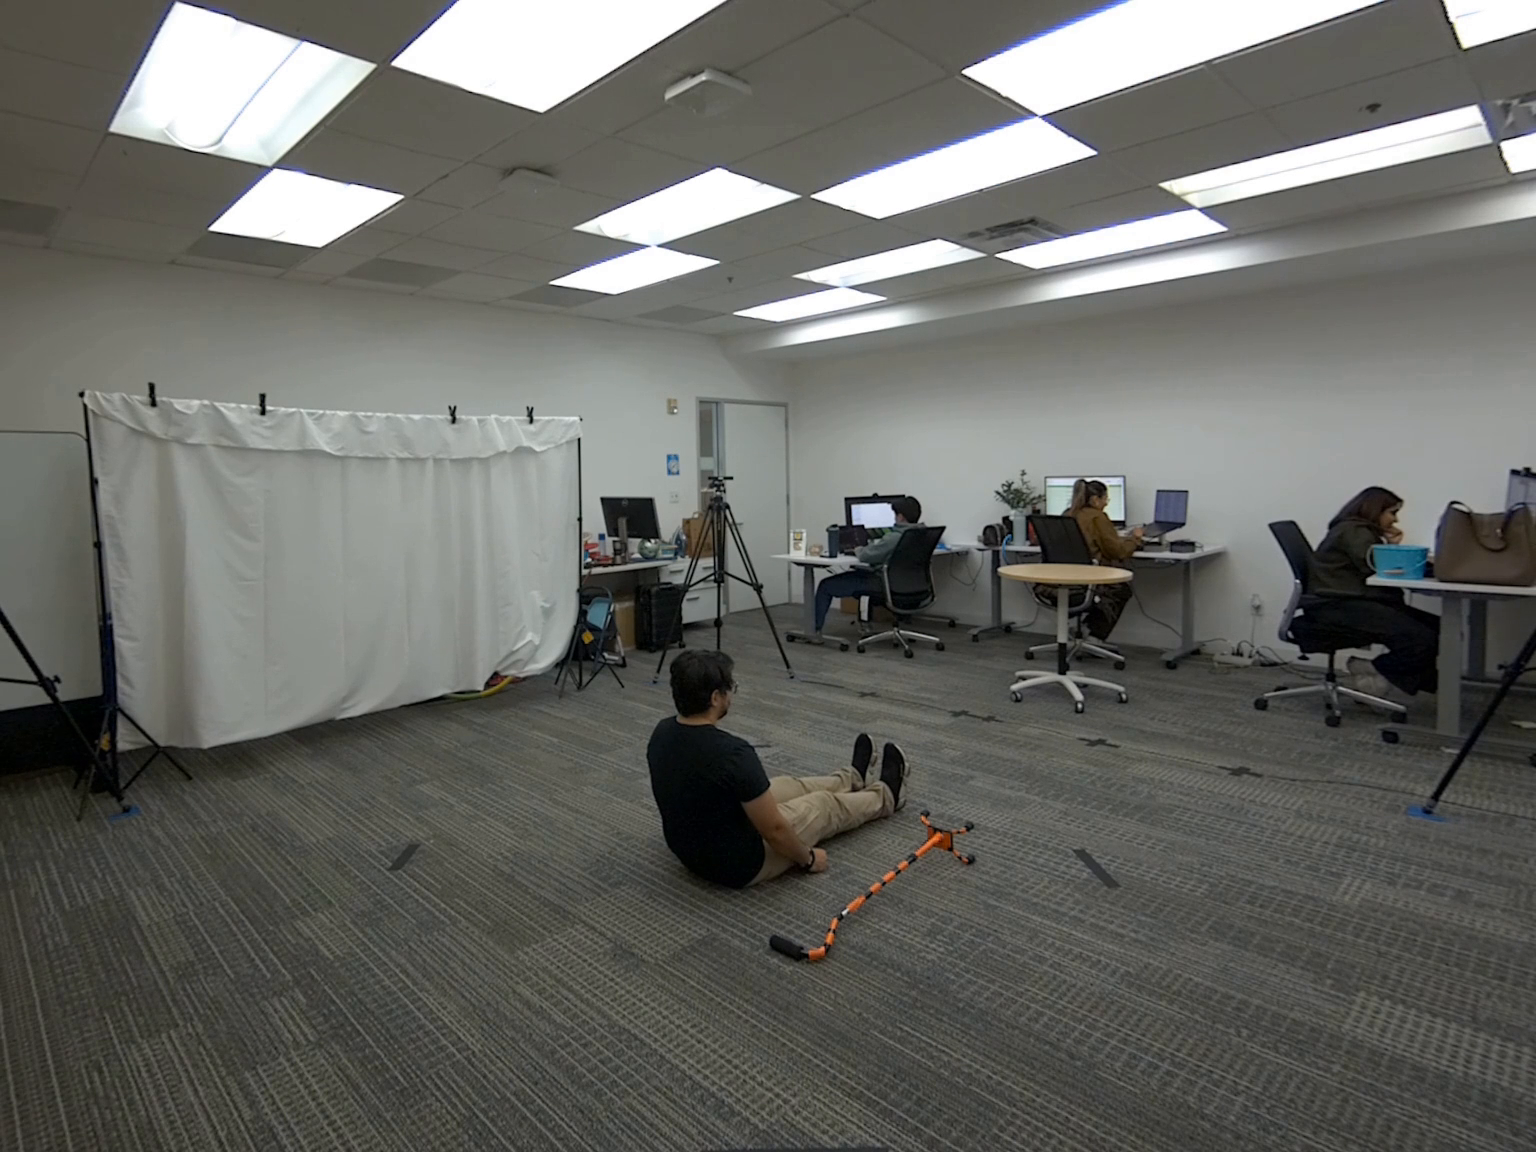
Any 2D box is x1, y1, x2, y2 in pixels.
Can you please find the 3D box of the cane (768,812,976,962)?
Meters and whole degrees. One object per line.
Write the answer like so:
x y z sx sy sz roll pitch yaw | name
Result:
0.366 1.012 2.797 0.213 0.150 0.888 6 14 41 | cane
